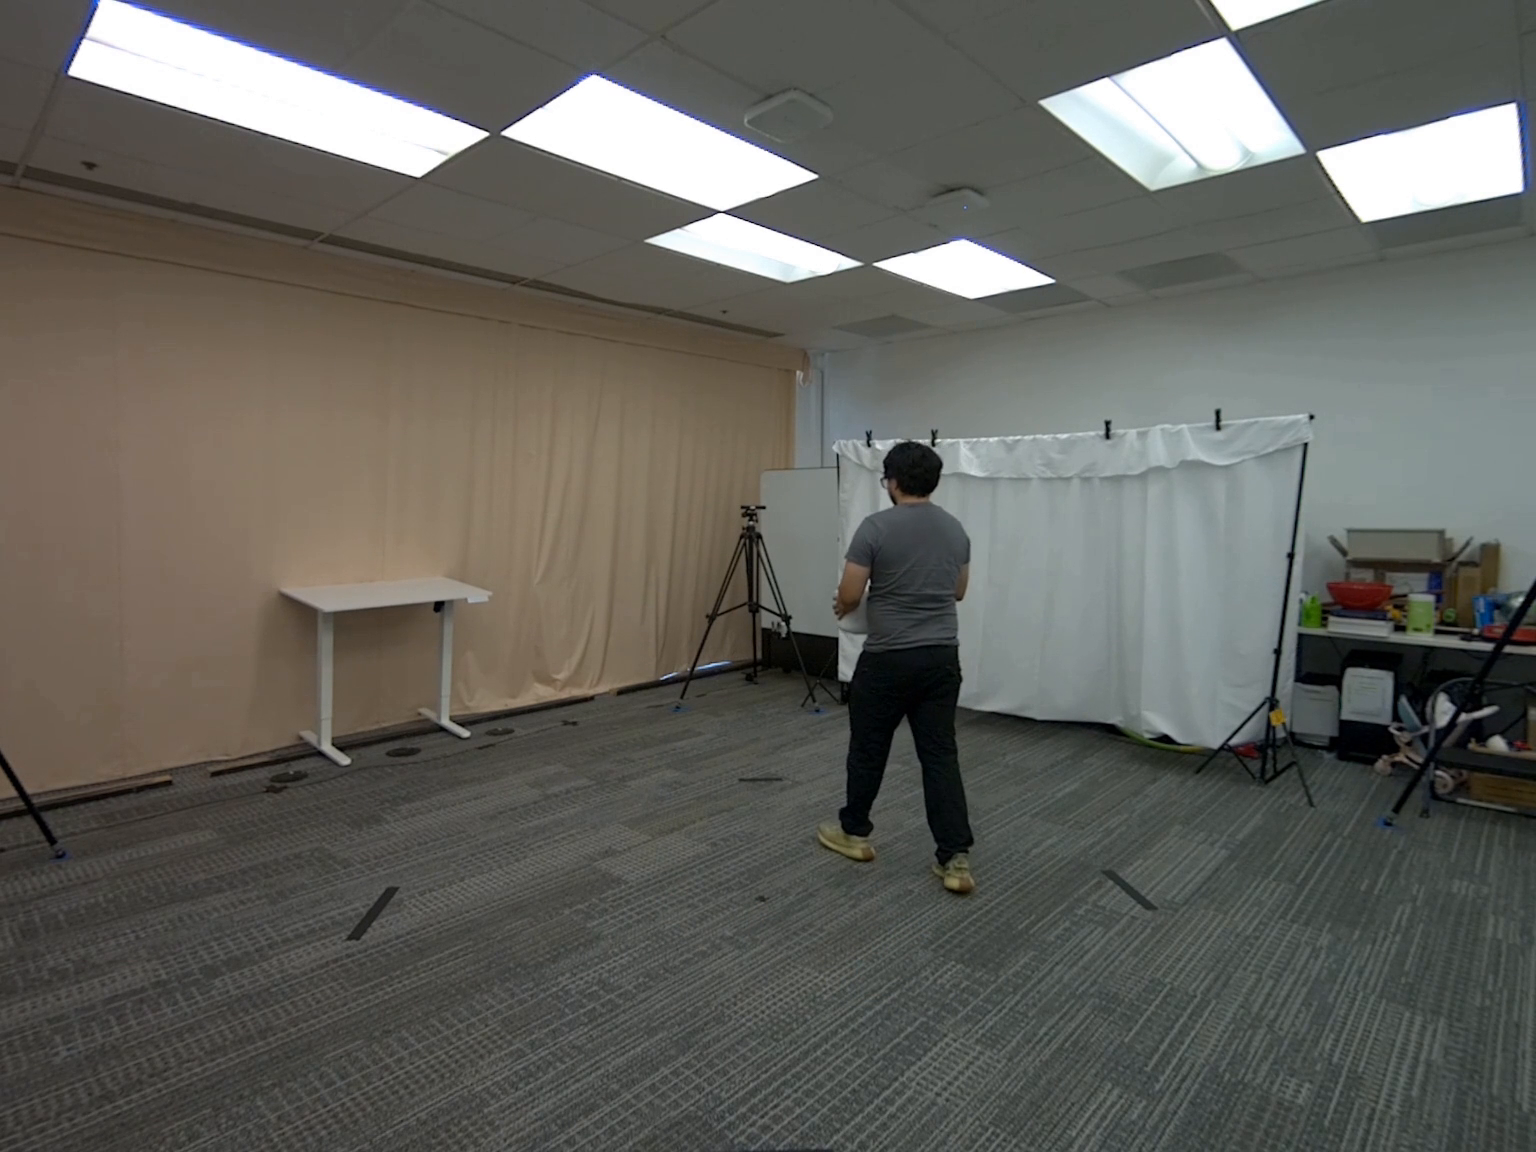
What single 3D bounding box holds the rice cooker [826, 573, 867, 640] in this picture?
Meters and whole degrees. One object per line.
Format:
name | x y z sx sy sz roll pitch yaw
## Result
rice cooker | 0.400 0.113 3.529 0.215 0.232 0.224 -4 9 -30
